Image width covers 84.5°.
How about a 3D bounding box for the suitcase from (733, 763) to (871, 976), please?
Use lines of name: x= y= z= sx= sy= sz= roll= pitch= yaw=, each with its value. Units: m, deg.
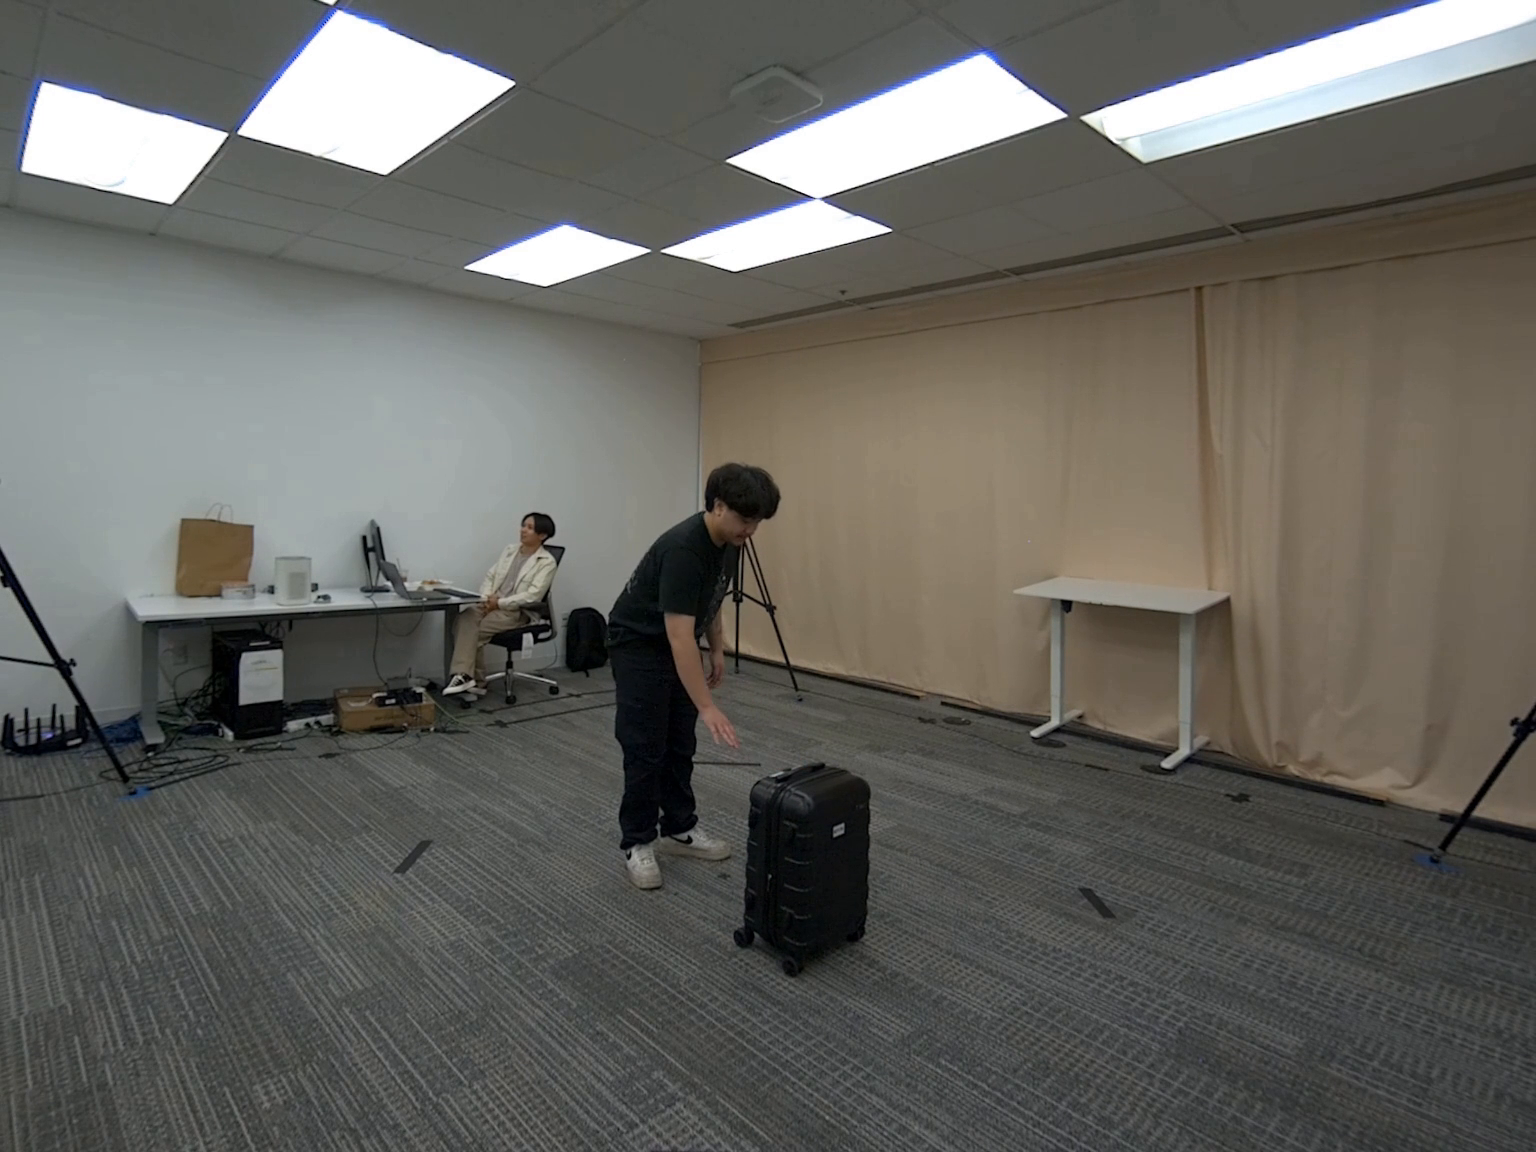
suitcase: x=0.121 y=0.882 z=2.624 sx=0.367 sy=0.547 sz=0.255 roll=-2 pitch=7 yaw=-45
